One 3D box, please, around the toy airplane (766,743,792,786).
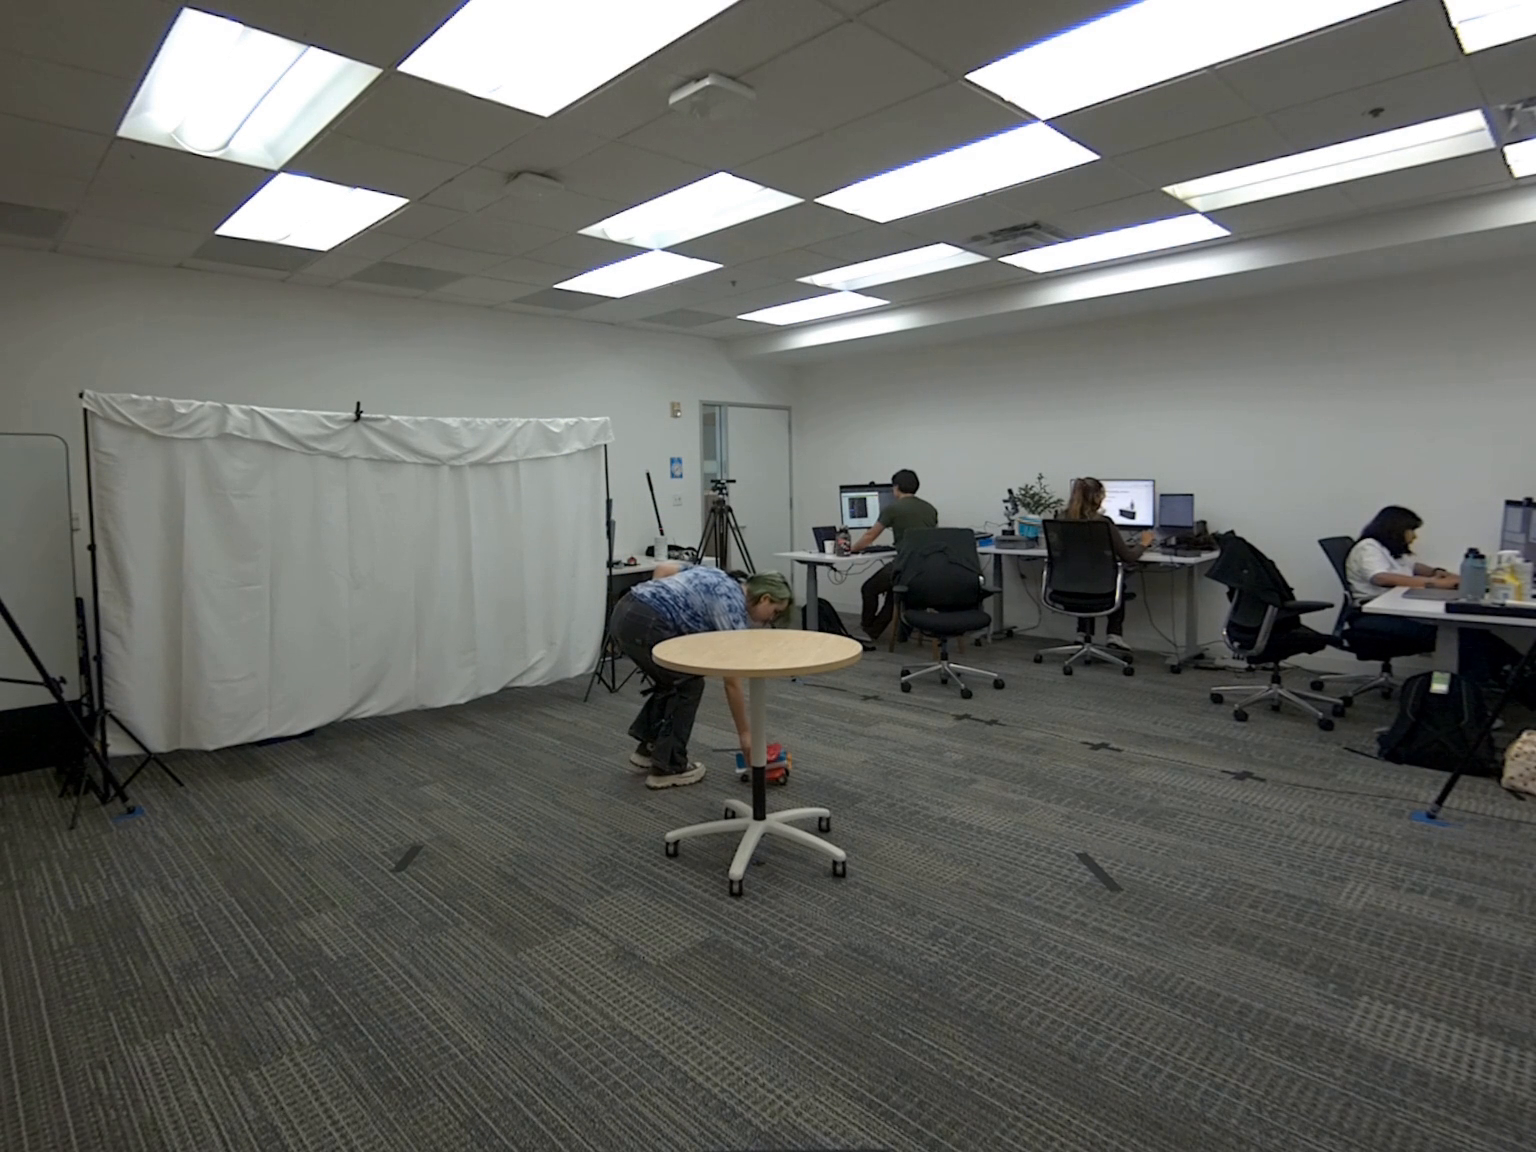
[{"bbox_3d":[-0.017,0.882,3.950,0.255,0.156,0.256,-2,5,-17],"label":"toy airplane"}]
